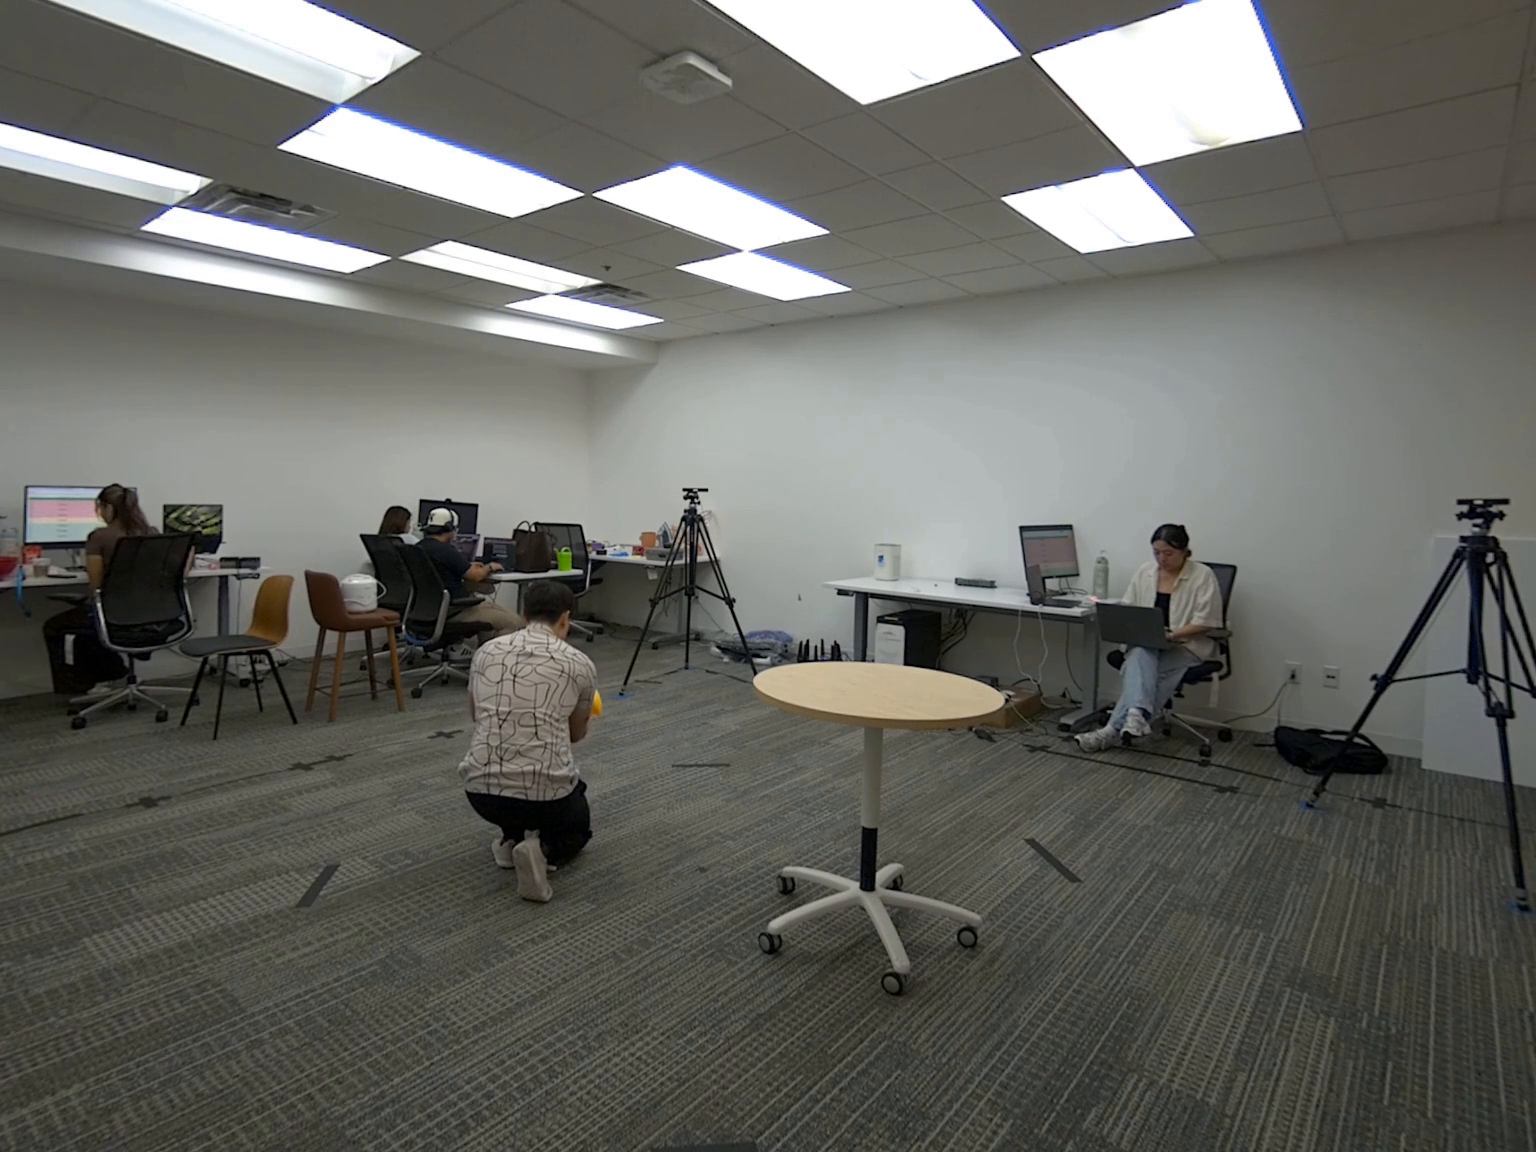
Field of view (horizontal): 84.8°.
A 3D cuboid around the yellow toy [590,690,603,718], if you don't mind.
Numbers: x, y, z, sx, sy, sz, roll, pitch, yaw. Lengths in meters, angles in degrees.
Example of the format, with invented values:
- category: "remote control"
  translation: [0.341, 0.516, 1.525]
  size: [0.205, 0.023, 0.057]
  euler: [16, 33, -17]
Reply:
- category: "yellow toy"
  translation: [-0.836, 0.555, 3.537]
  size: [0.206, 0.191, 0.231]
  euler: [-21, 8, 11]
